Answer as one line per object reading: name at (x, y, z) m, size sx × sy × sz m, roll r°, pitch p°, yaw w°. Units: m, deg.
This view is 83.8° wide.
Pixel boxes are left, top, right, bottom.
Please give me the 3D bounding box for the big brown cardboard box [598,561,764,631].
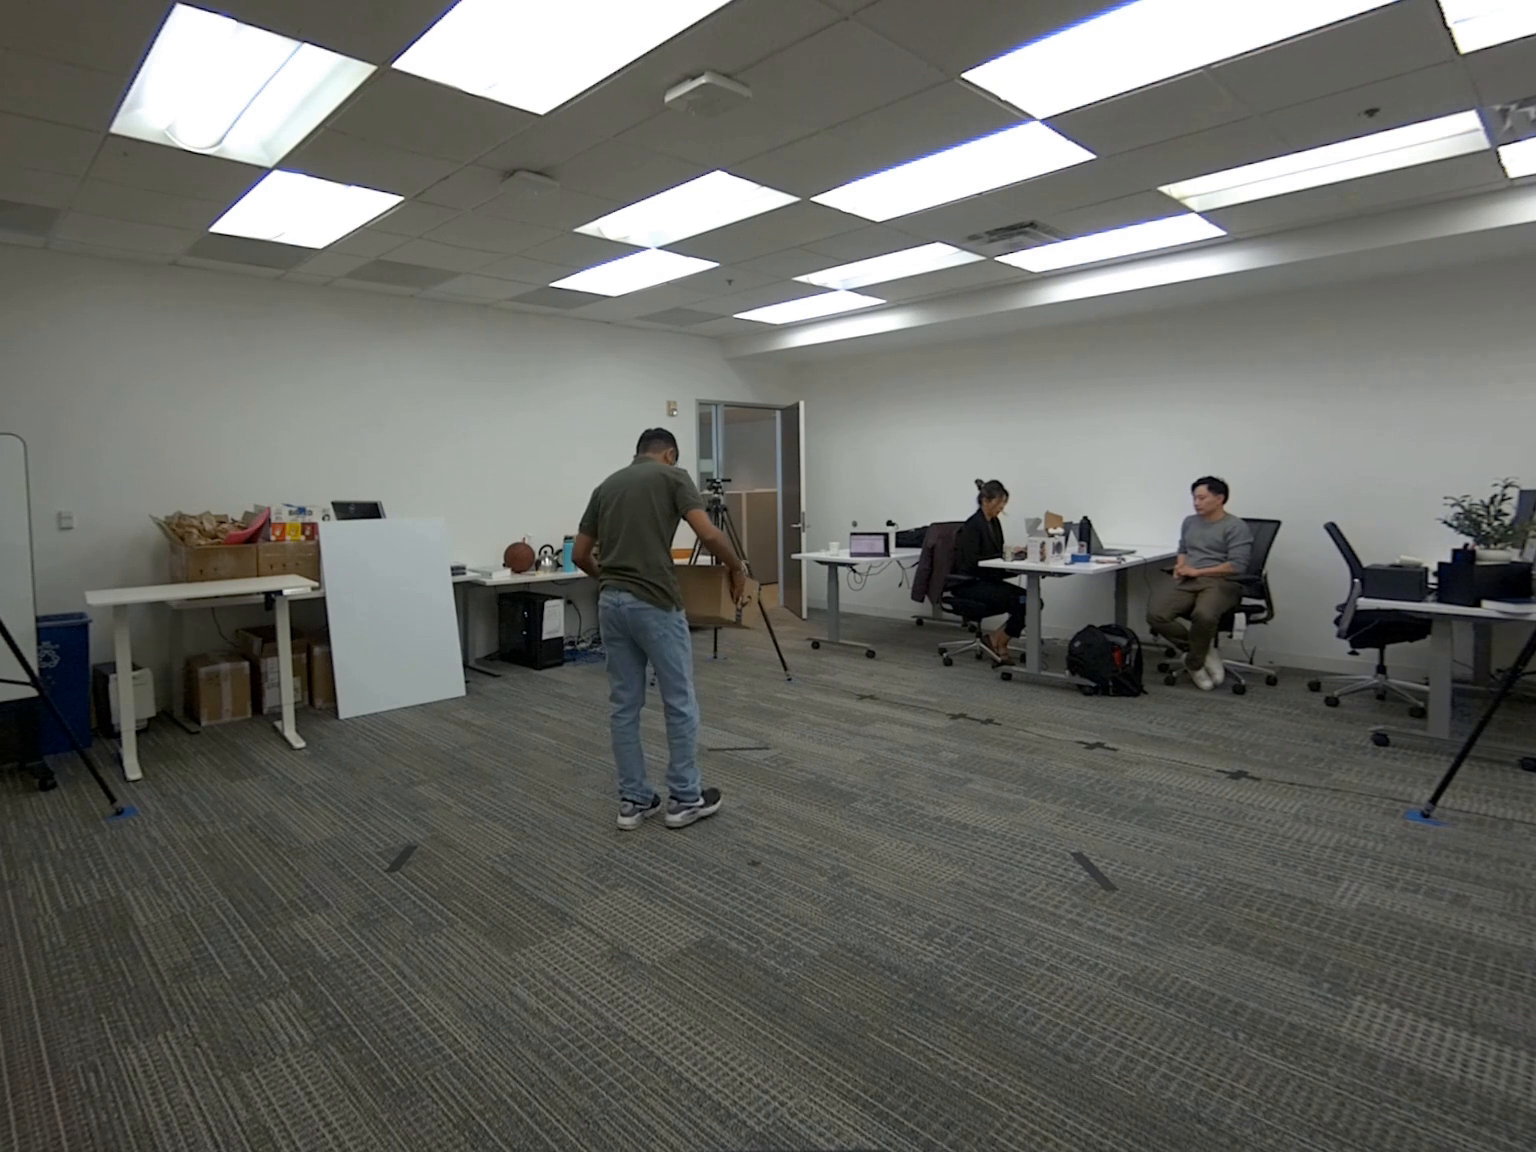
big brown cardboard box at (-0.373, 0.087, 3.758) m, size 0.601 × 0.235 × 0.406 m, roll 1°, pitch -10°, yaw 21°
